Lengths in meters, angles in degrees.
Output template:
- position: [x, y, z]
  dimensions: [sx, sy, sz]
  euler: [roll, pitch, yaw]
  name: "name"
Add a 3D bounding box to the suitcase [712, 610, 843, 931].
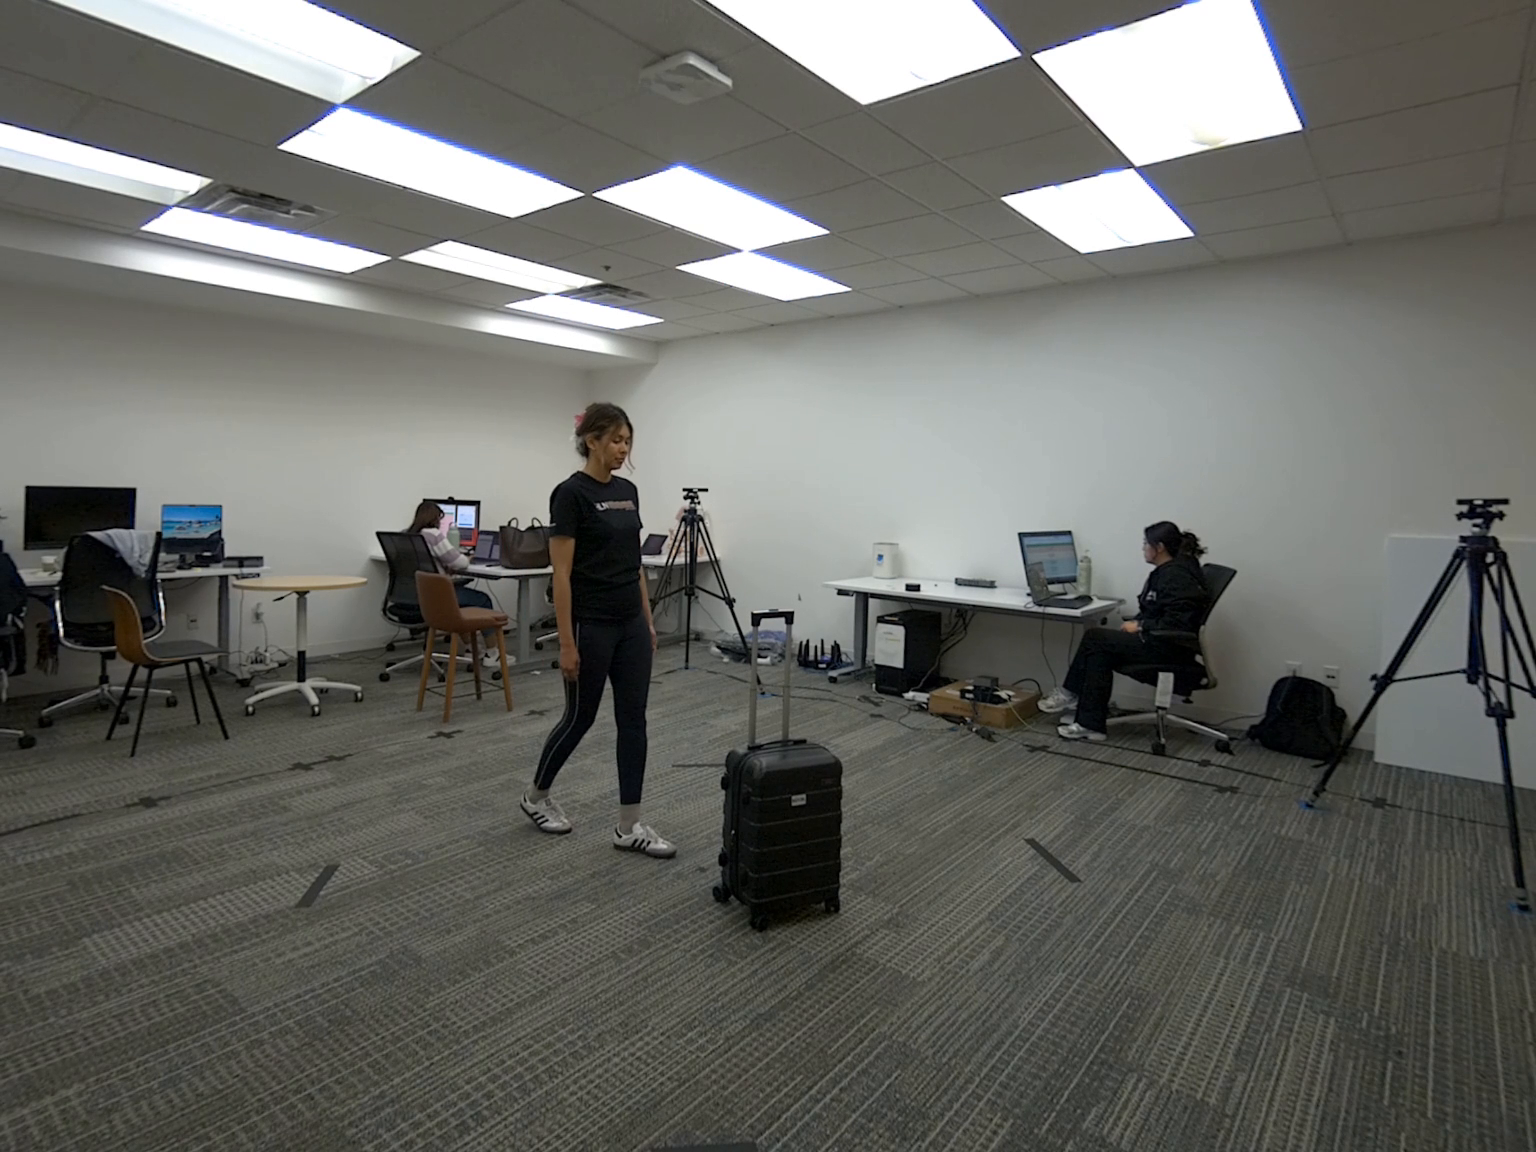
- position: [0.049, 0.625, 2.800]
  dimensions: [0.375, 0.974, 0.264]
  euler: [0, 6, -24]
  name: "suitcase"
